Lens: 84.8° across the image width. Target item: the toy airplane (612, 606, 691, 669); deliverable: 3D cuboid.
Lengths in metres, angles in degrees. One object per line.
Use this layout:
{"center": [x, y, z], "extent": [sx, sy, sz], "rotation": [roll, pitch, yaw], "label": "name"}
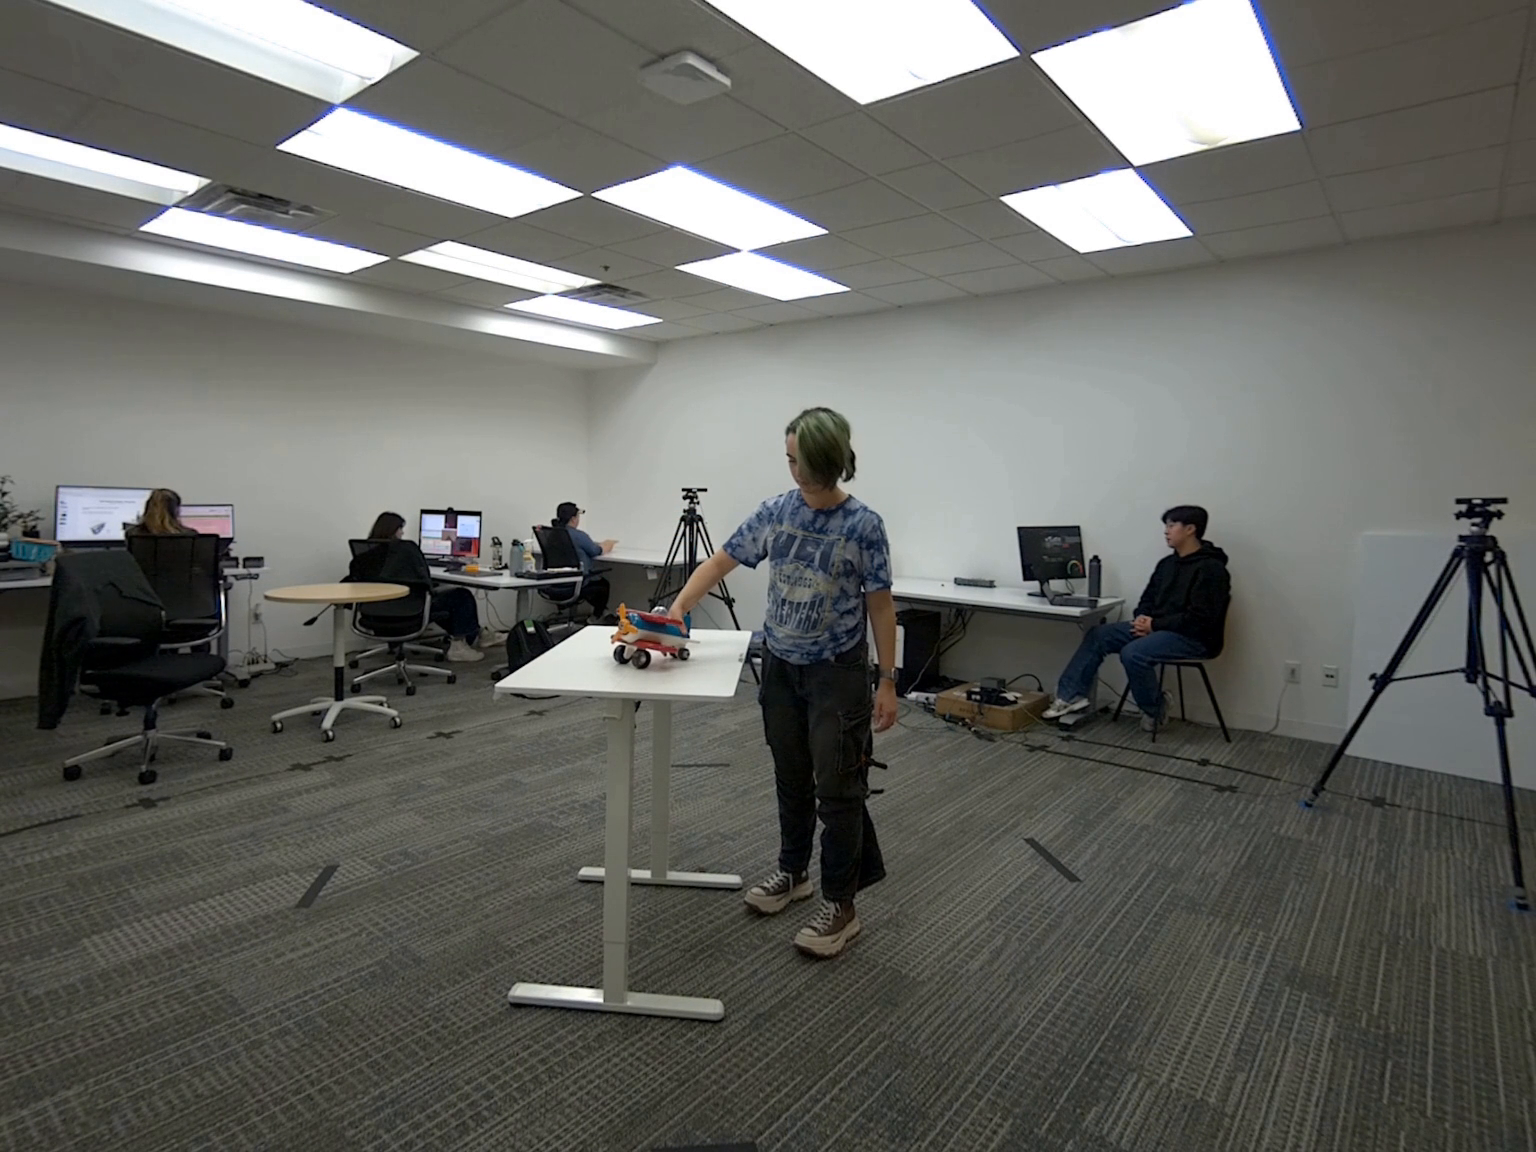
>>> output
{"center": [-0.346, 0.174, 2.468], "extent": [0.256, 0.156, 0.255], "rotation": [2, 6, 17], "label": "toy airplane"}
